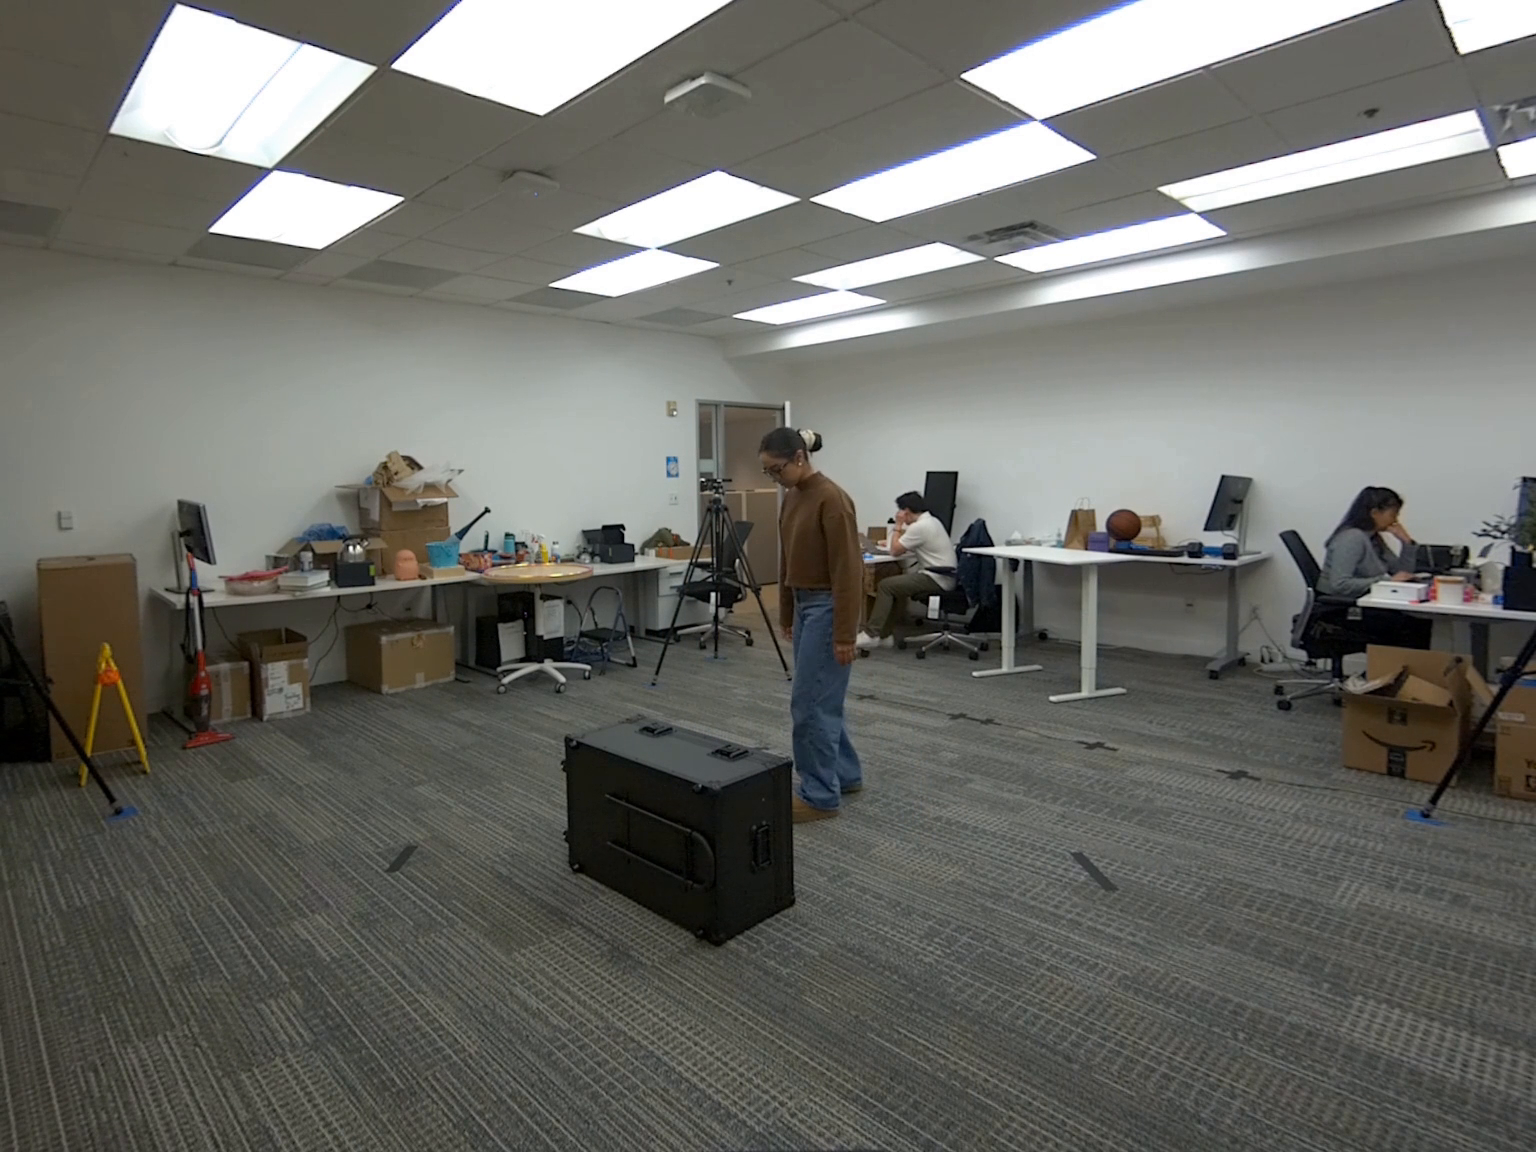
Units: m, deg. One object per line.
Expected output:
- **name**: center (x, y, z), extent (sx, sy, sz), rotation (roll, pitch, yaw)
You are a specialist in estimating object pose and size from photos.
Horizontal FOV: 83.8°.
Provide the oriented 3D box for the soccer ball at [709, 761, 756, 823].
- **soccer ball**: center (-0.151, 0.898, 3.584), extent (0.187, 0.187, 0.188), rotation (-1, 5, -2)
